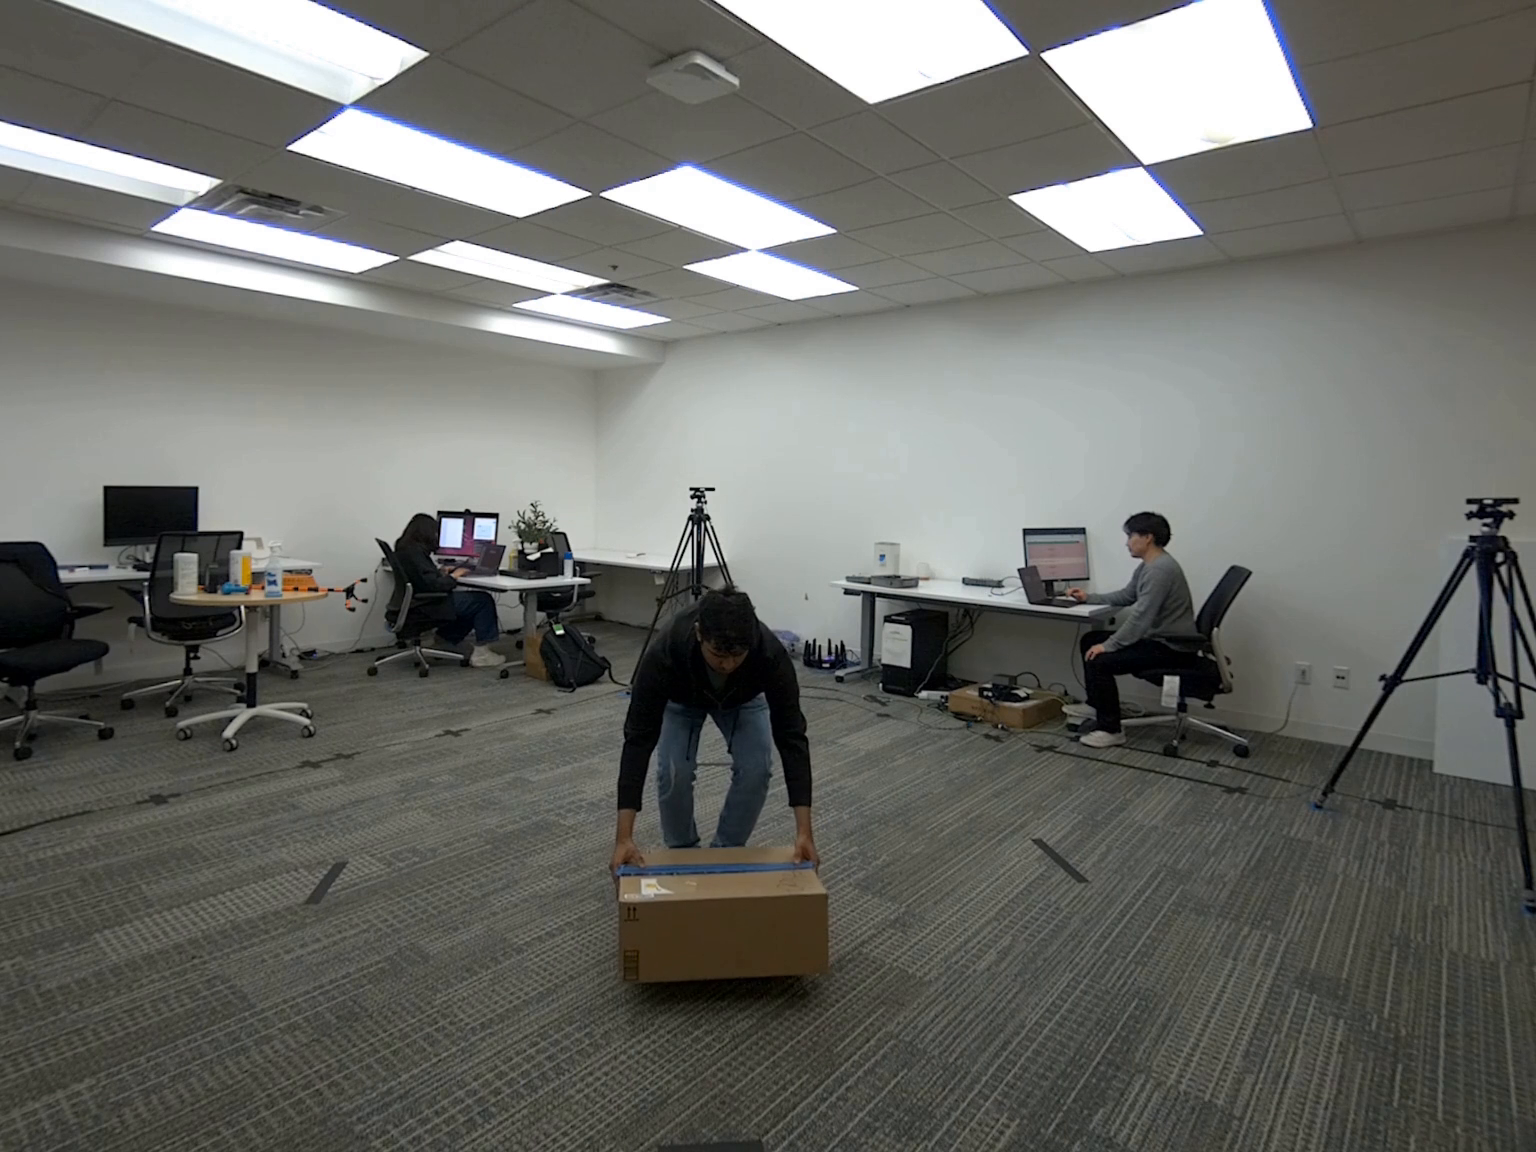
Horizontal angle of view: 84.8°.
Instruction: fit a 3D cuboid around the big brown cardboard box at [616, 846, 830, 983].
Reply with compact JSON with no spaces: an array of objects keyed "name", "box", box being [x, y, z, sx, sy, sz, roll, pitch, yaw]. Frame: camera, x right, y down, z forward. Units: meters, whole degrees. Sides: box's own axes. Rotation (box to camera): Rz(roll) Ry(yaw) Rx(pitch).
[{"name":"big brown cardboard box","box":[-0.157,0.959,2.464,0.584,0.233,0.421,1,0,-8]}]
